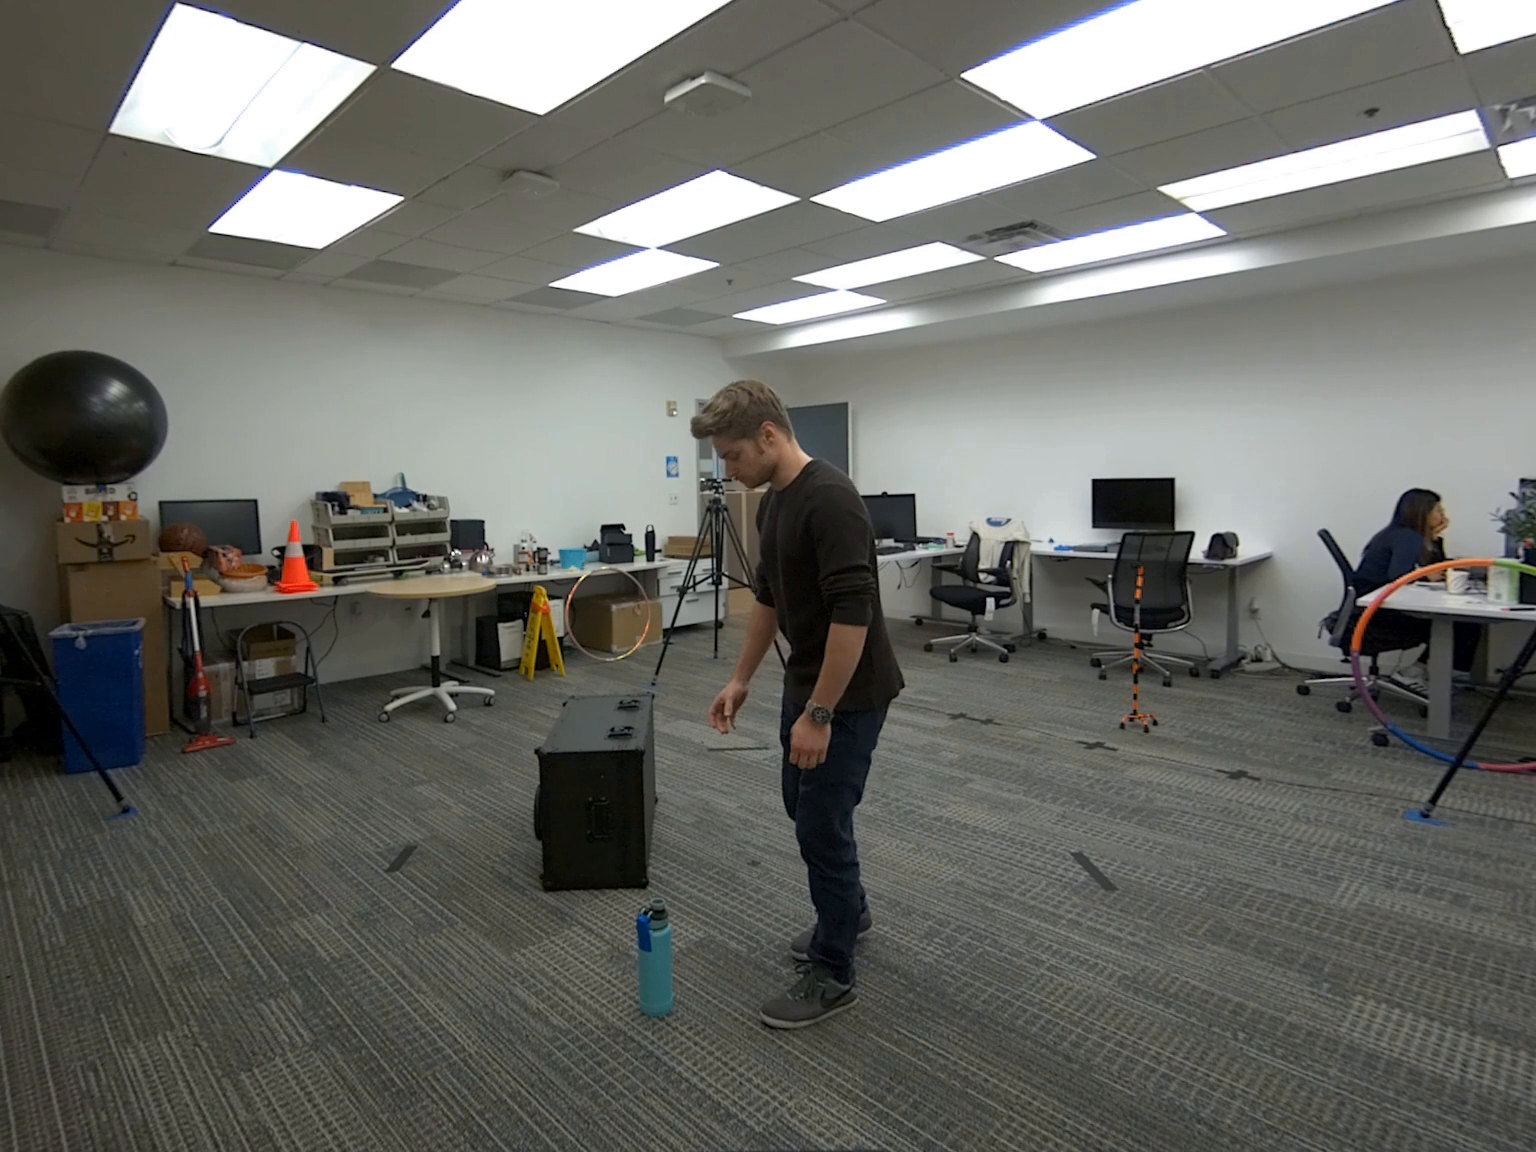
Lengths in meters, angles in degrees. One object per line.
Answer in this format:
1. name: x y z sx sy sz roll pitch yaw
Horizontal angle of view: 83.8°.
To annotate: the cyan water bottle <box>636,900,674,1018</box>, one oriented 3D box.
1. cyan water bottle: -0.296 1.009 2.263 0.092 0.282 0.093 -3 5 -1
